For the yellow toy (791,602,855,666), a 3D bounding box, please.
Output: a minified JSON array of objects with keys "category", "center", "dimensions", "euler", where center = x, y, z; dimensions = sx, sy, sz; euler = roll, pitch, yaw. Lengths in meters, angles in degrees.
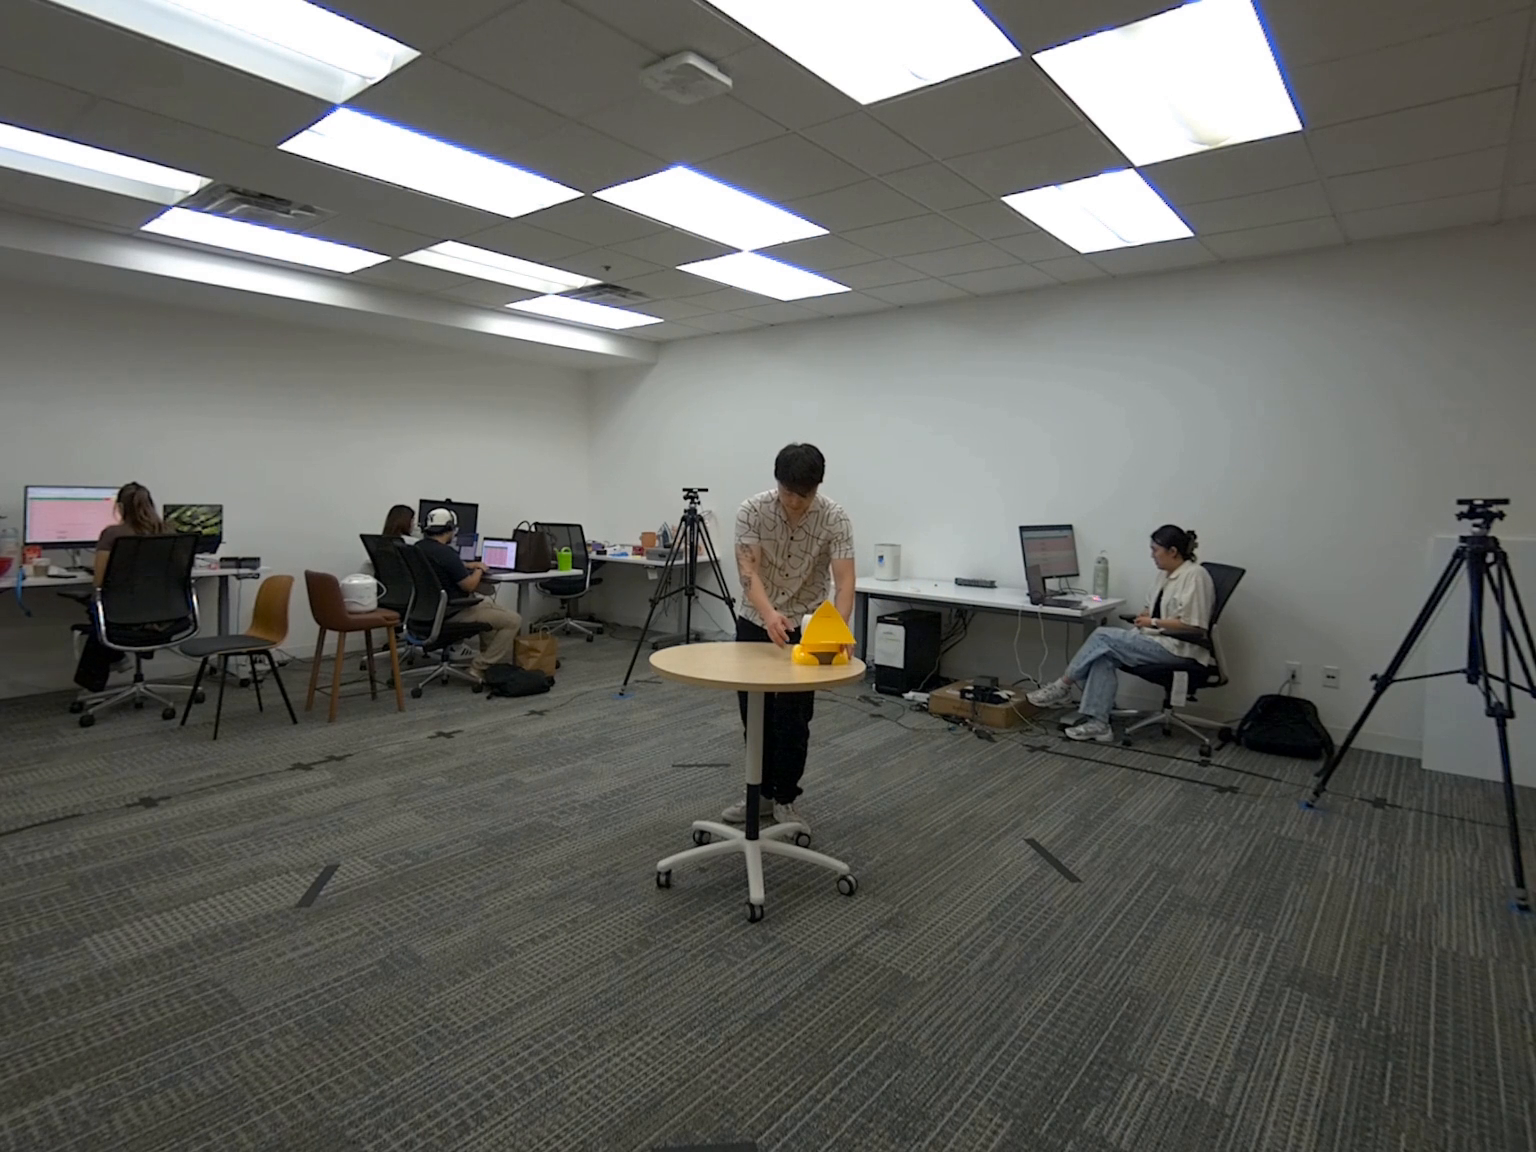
[{"category":"yellow toy","center":[0.180,0.188,3.052],"dimensions":[0.202,0.230,0.196],"euler":[1,2,-14]}]
